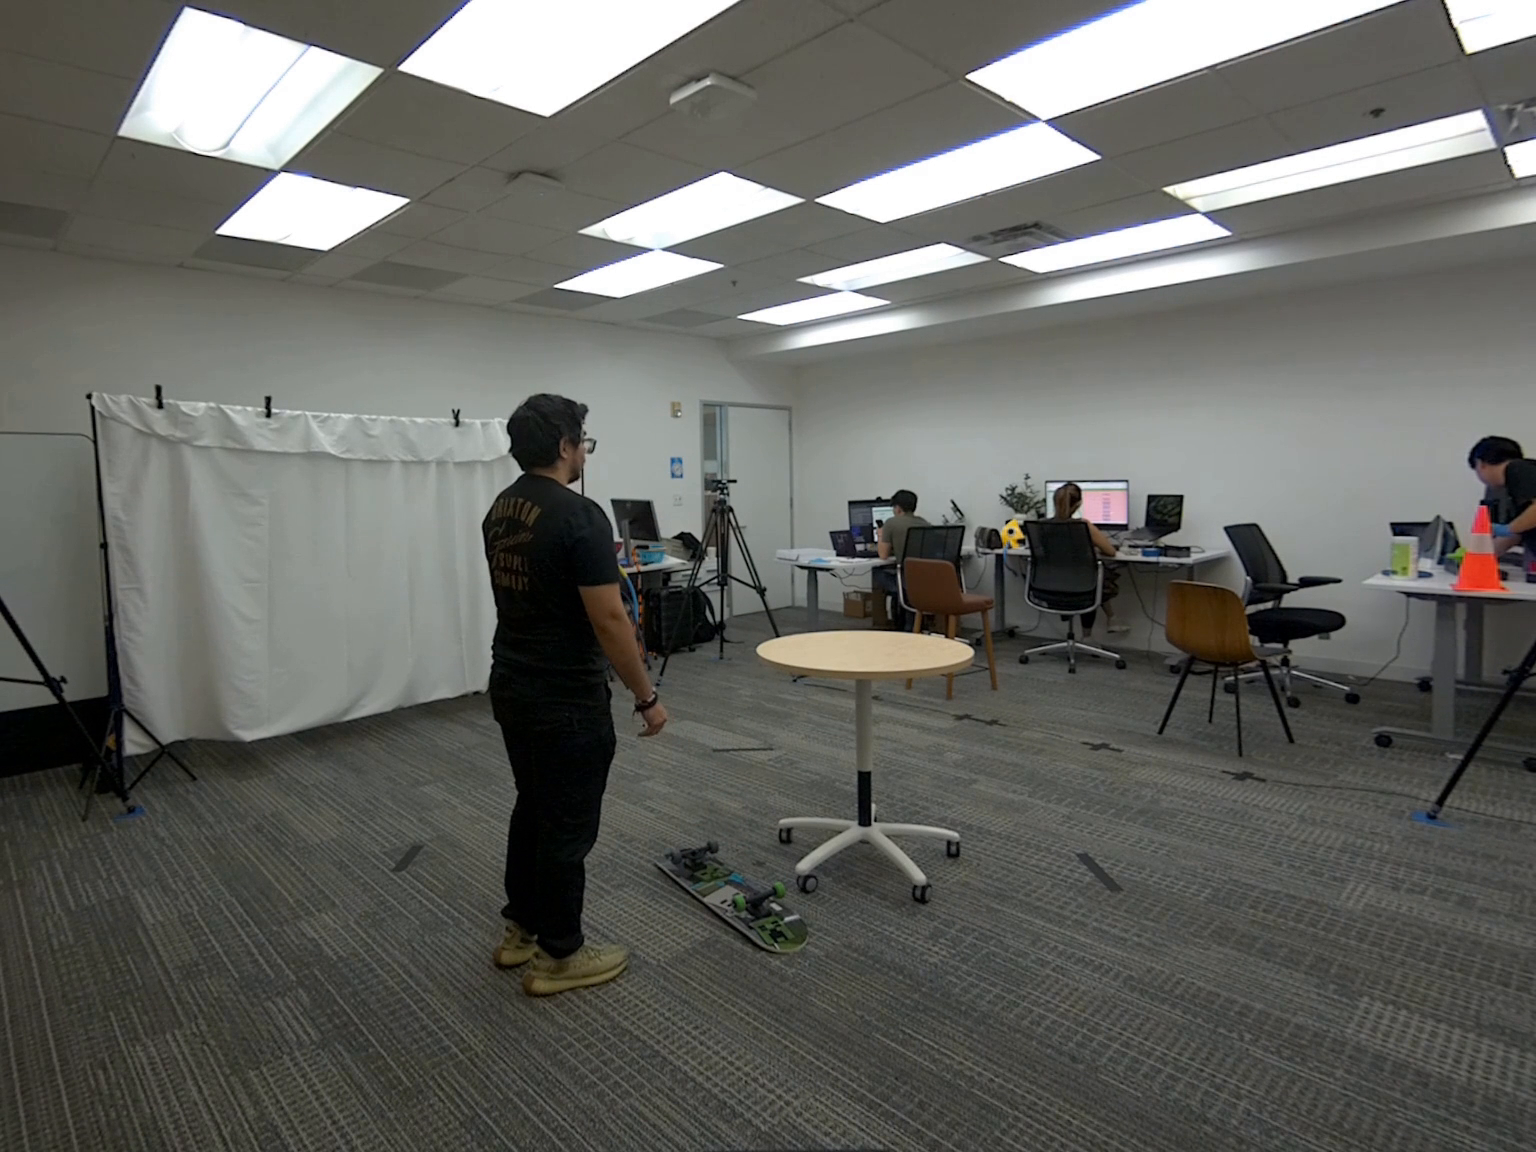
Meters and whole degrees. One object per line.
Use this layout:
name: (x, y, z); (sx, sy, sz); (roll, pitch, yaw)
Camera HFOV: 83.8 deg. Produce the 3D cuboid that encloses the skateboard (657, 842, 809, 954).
skateboard: (-0.139, 1.028, 2.857); (0.189, 0.110, 0.809); (-6, 8, -34)
